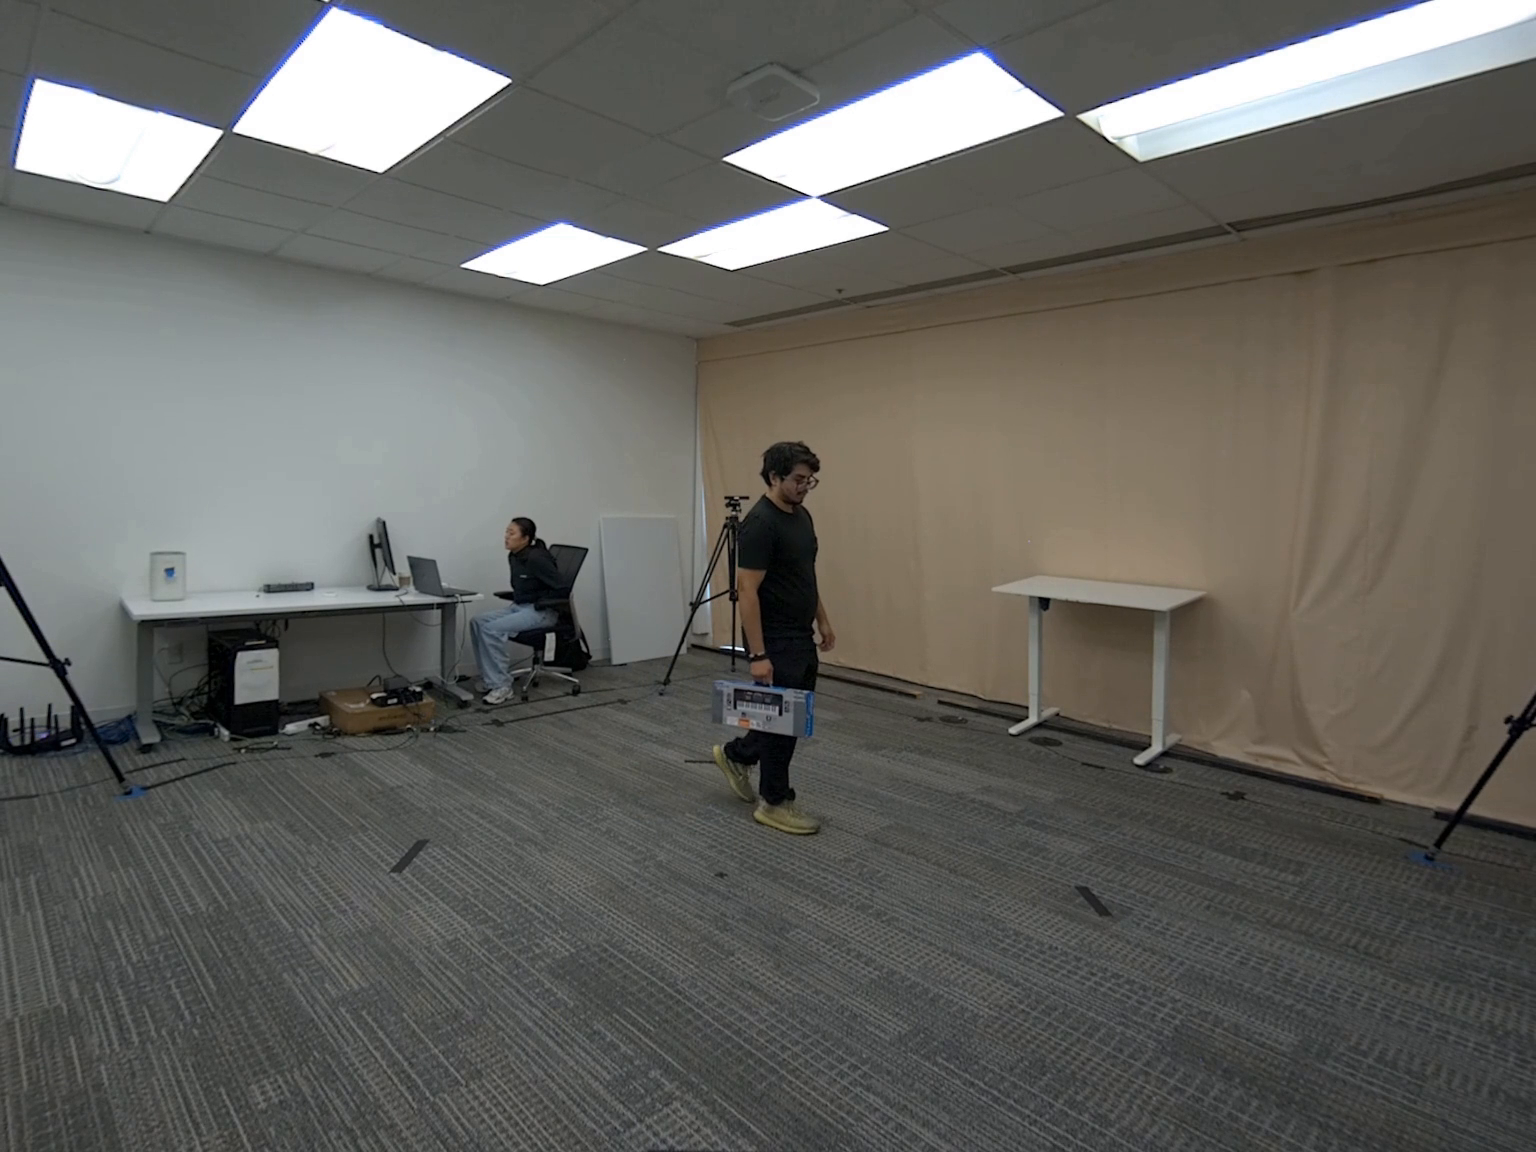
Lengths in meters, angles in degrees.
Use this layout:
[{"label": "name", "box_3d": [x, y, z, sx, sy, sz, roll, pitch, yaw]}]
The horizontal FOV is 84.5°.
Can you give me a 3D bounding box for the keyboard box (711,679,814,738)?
[{"label": "keyboard box", "box_3d": [-0.033, 0.523, 3.351, 0.447, 0.176, 0.058, 3, 1, 33]}]
